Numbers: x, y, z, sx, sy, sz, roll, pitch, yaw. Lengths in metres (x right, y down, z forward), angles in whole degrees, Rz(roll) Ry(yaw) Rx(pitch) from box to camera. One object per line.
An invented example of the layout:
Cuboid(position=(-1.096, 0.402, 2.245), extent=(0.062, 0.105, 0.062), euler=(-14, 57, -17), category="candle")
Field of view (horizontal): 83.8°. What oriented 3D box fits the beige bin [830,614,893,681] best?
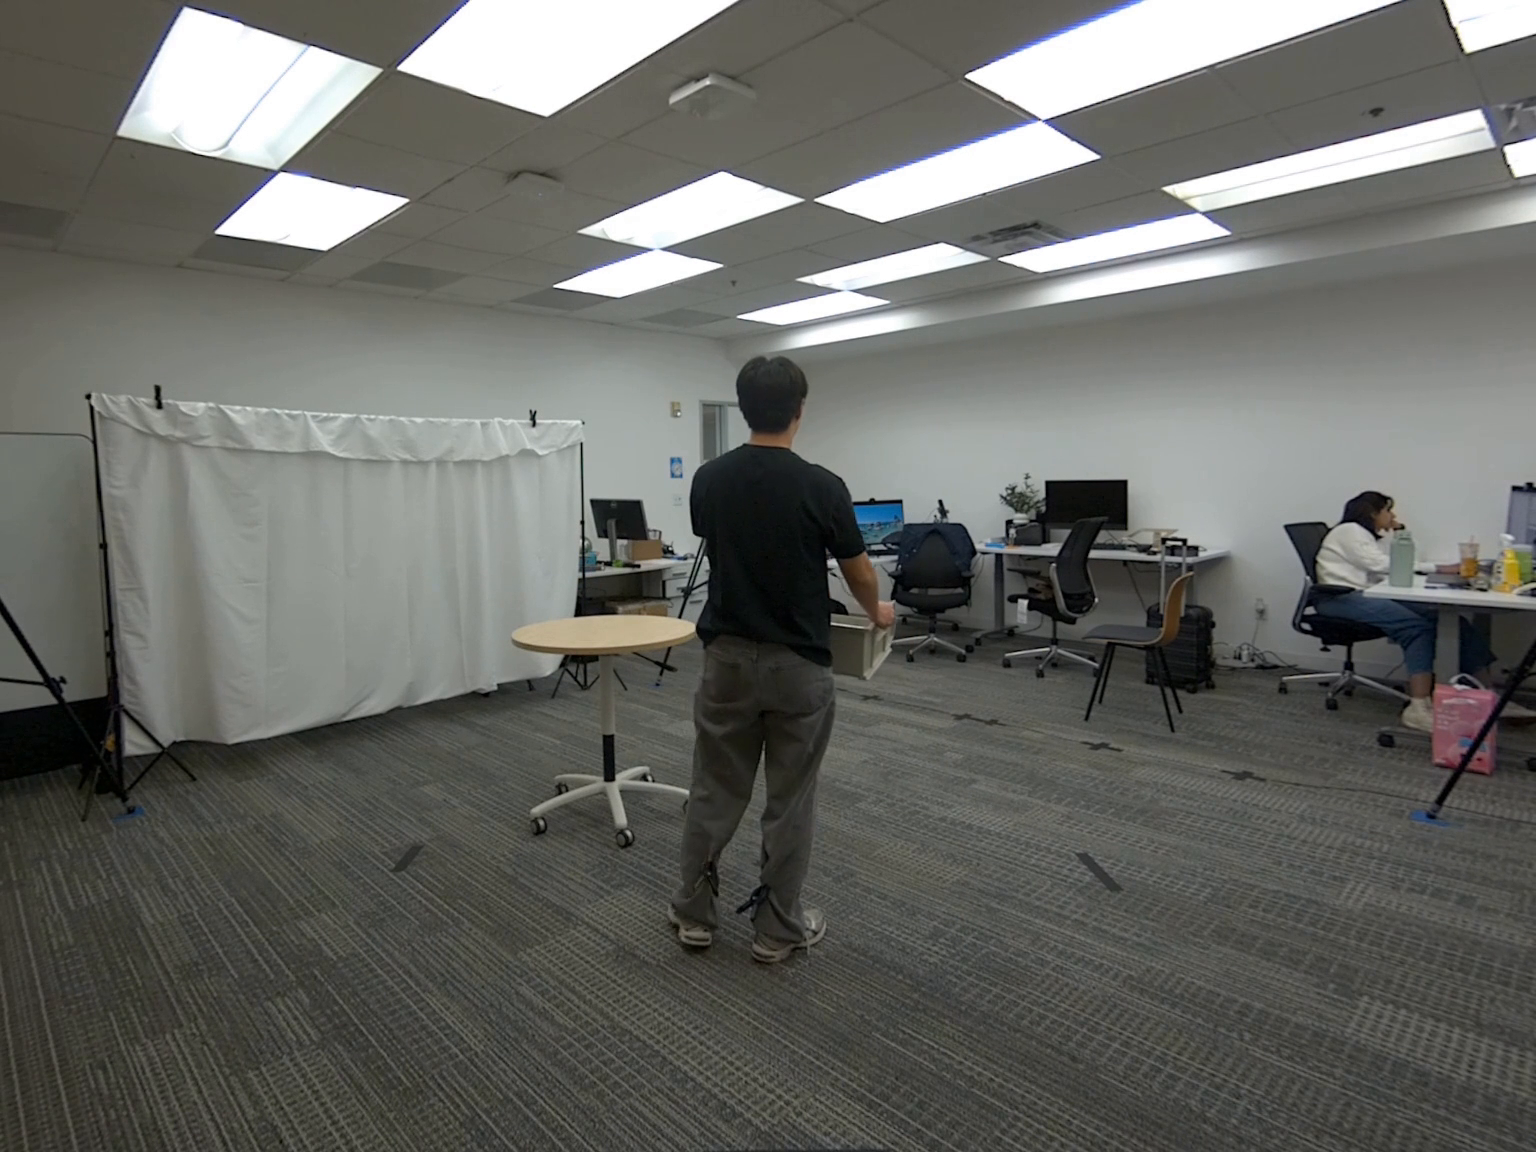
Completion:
Cuboid(position=(0.190, 0.187, 2.923), extent=(0.432, 0.186, 0.373), euler=(7, 17, 24), category="beige bin")
